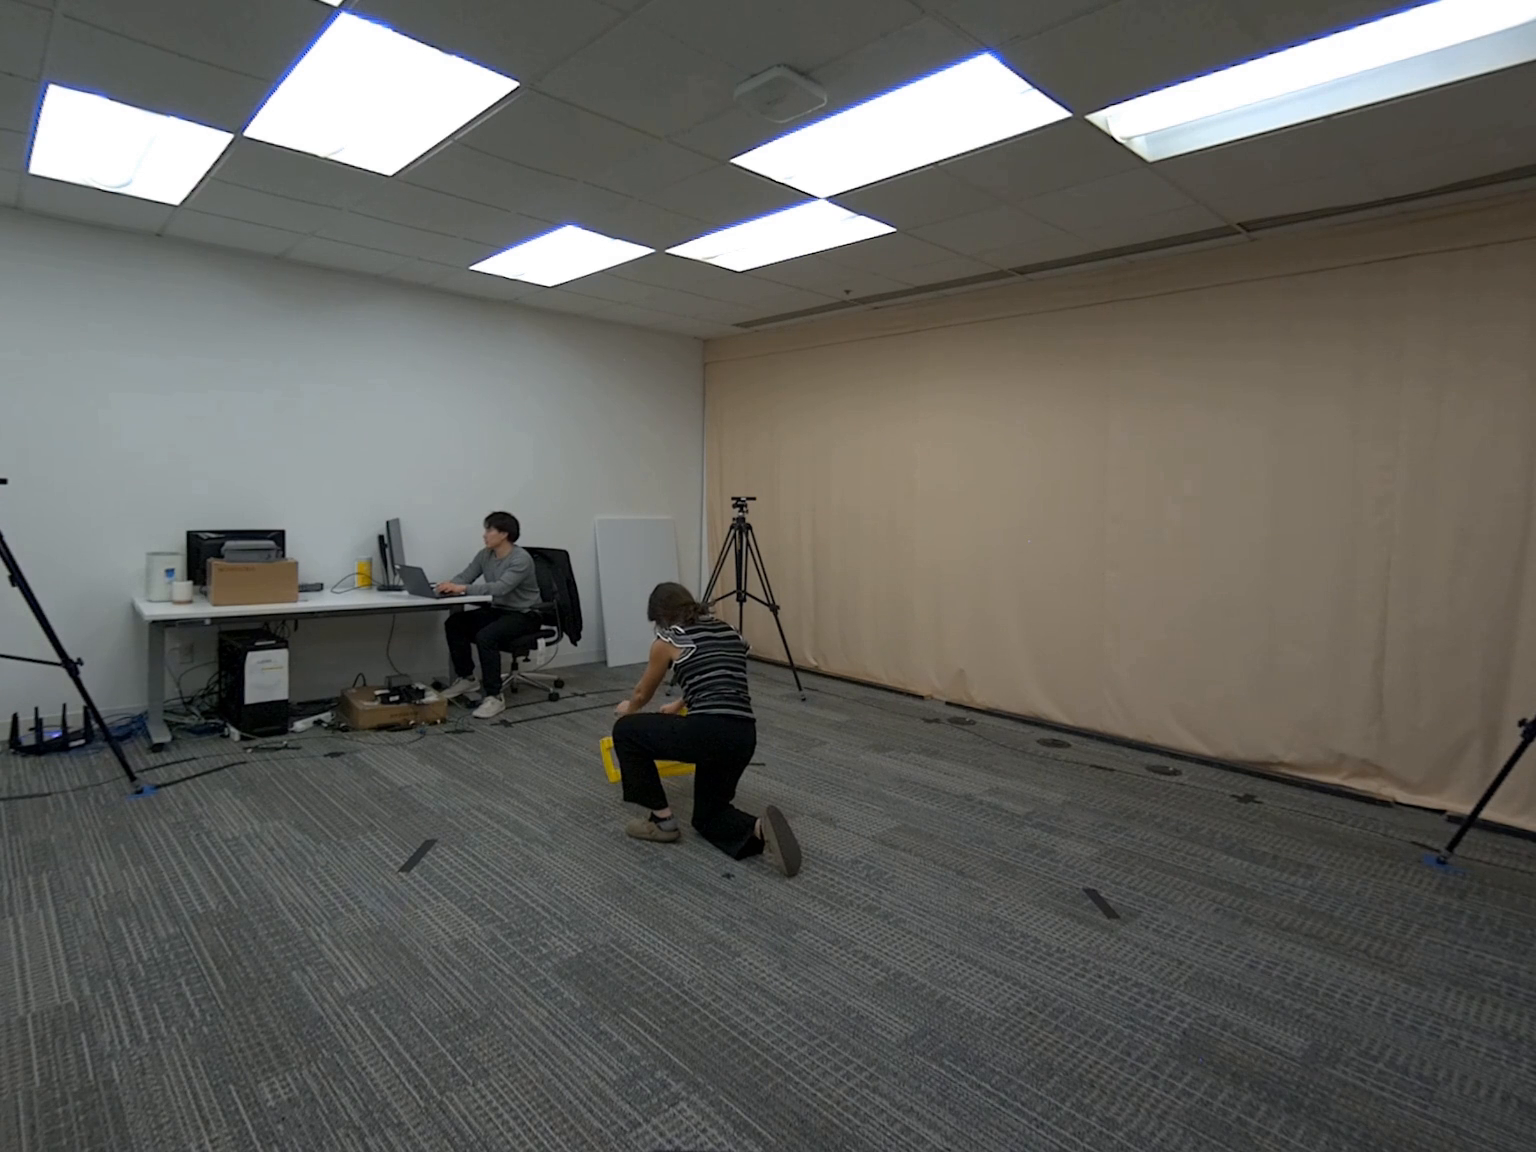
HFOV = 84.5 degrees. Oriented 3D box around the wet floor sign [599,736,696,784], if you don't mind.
[{"bbox_3d":[-0.453,0.780,3.867,0.636,0.288,0.288,-10,-23,-25],"label":"wet floor sign"}]
